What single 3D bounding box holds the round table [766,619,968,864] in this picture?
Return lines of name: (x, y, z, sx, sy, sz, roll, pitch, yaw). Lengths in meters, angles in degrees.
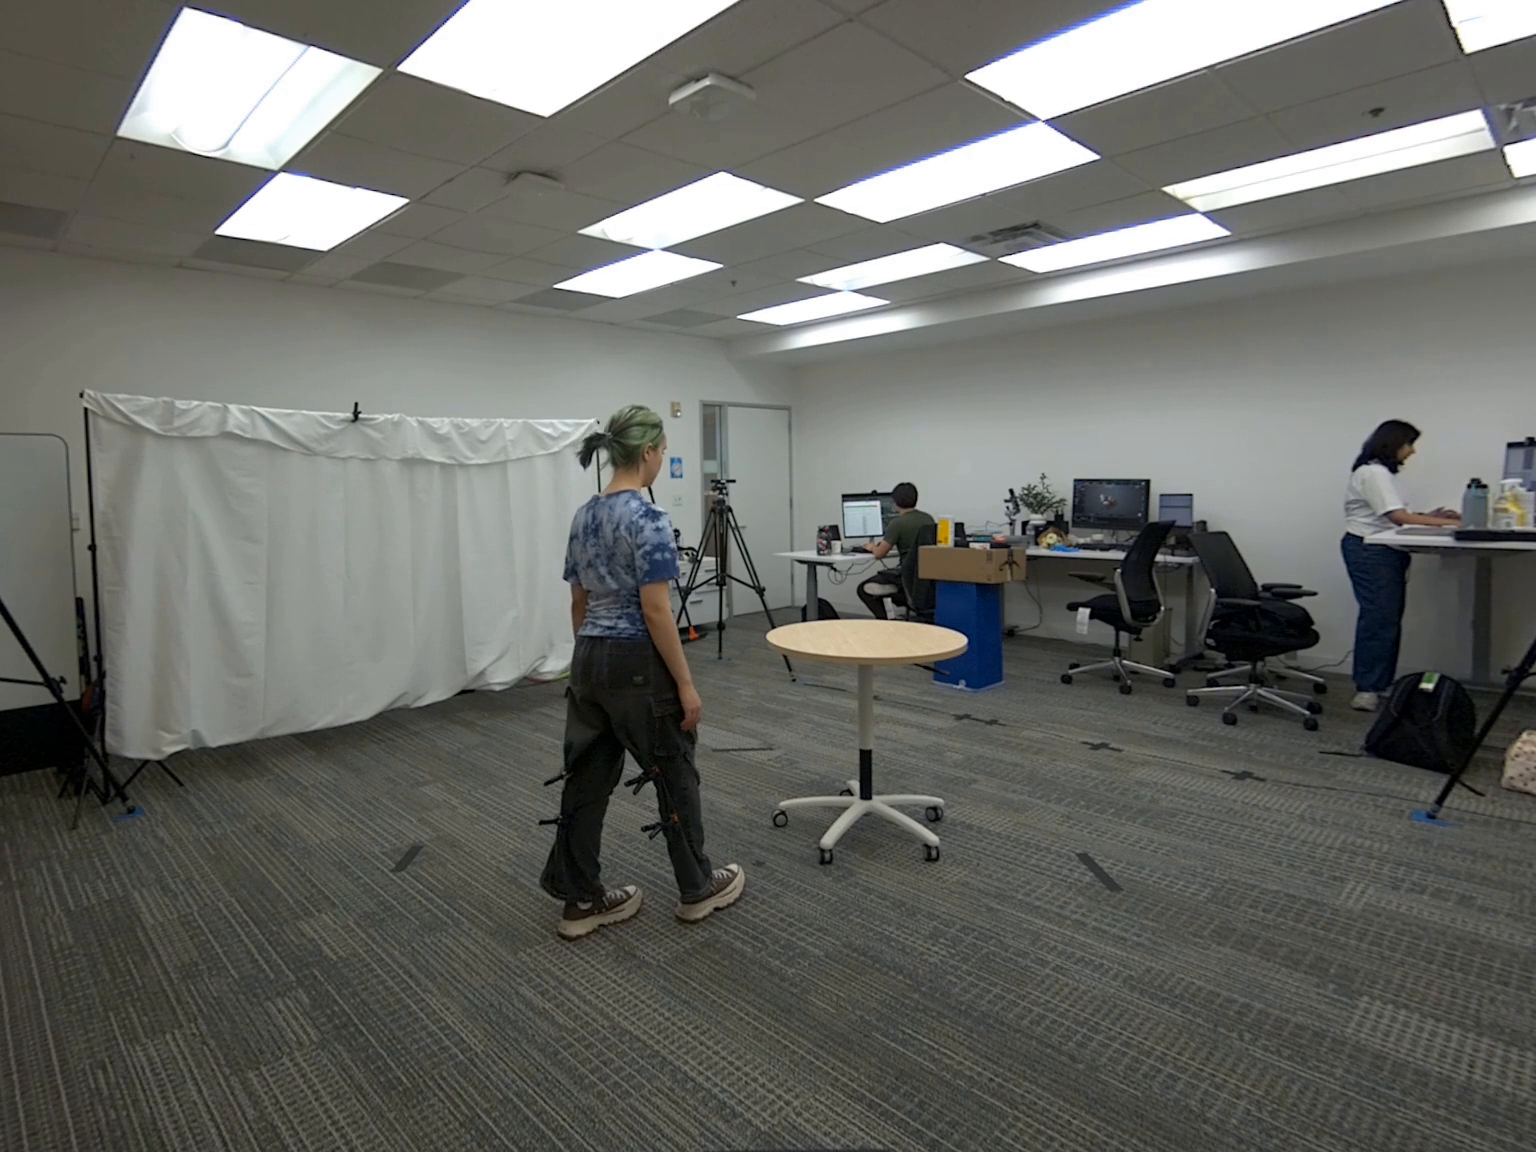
round table: (0.382, 0.625, 3.336, 0.763, 0.791, 0.768, -1, 5, -2)
